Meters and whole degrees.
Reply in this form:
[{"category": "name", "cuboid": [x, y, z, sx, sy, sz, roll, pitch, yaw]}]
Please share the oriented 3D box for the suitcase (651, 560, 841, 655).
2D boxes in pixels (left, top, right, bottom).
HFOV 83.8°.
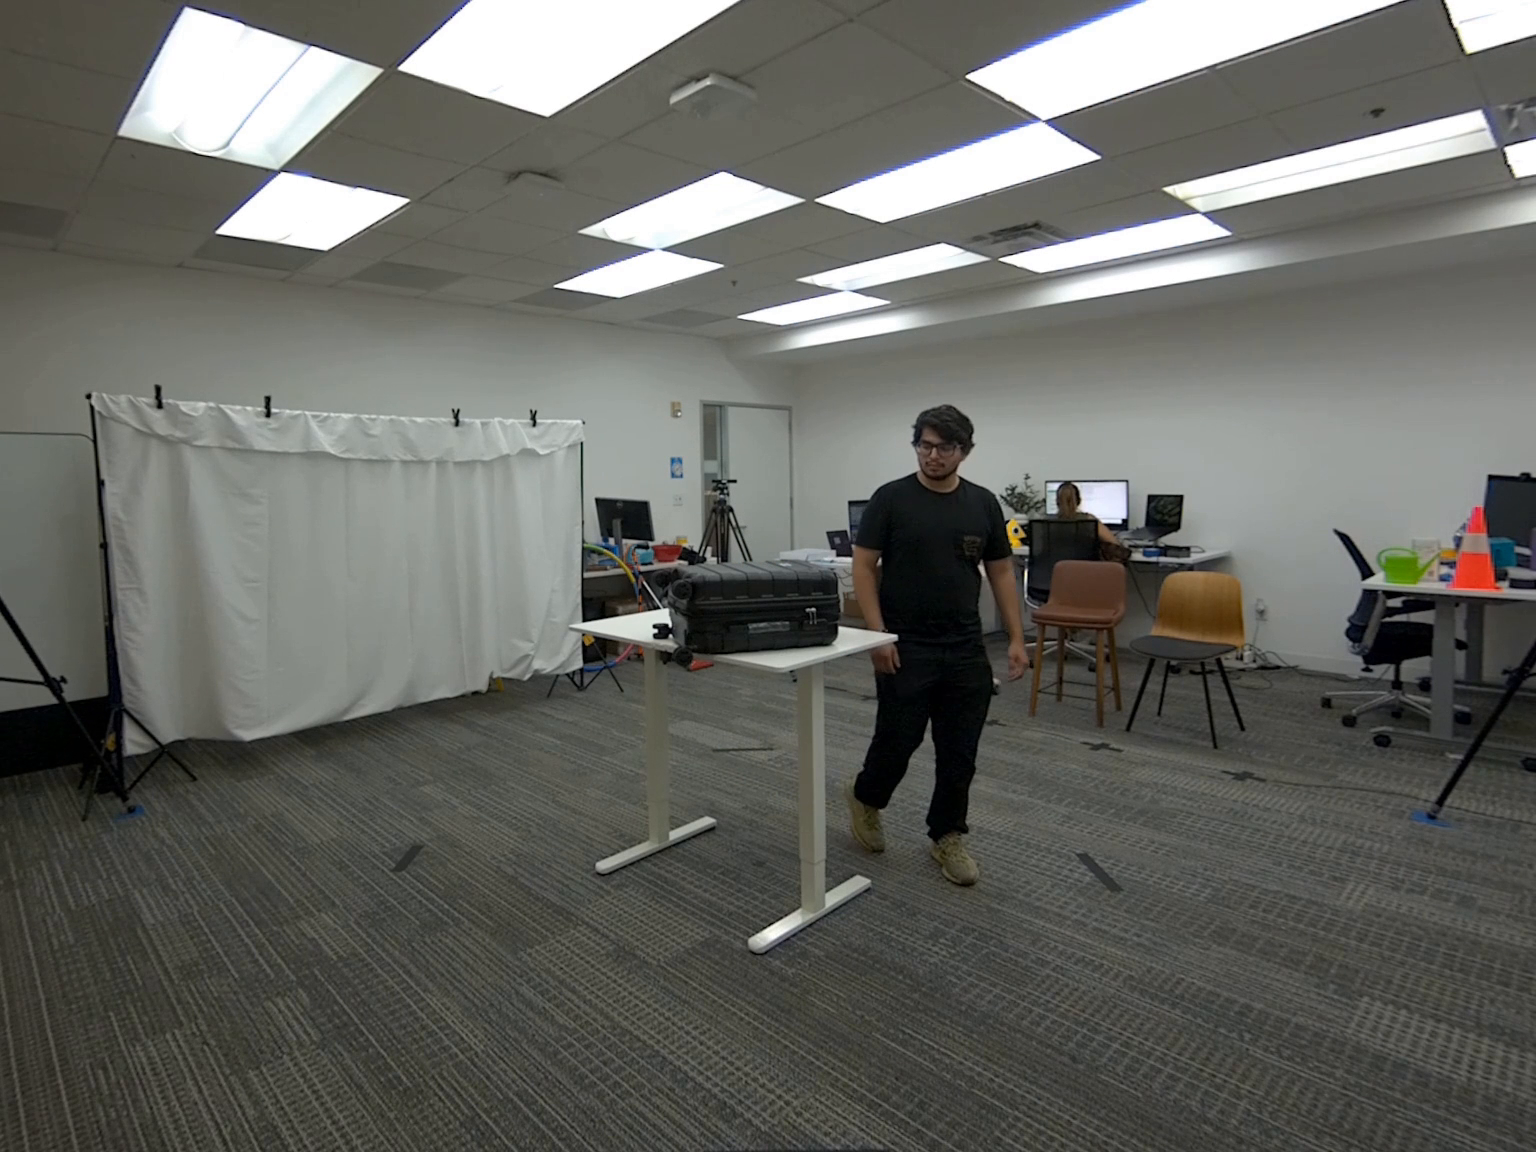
[{"category": "suitcase", "cuboid": [-0.061, 0.095, 2.714, 0.541, 0.247, 0.383, -3, 6, -17]}]
